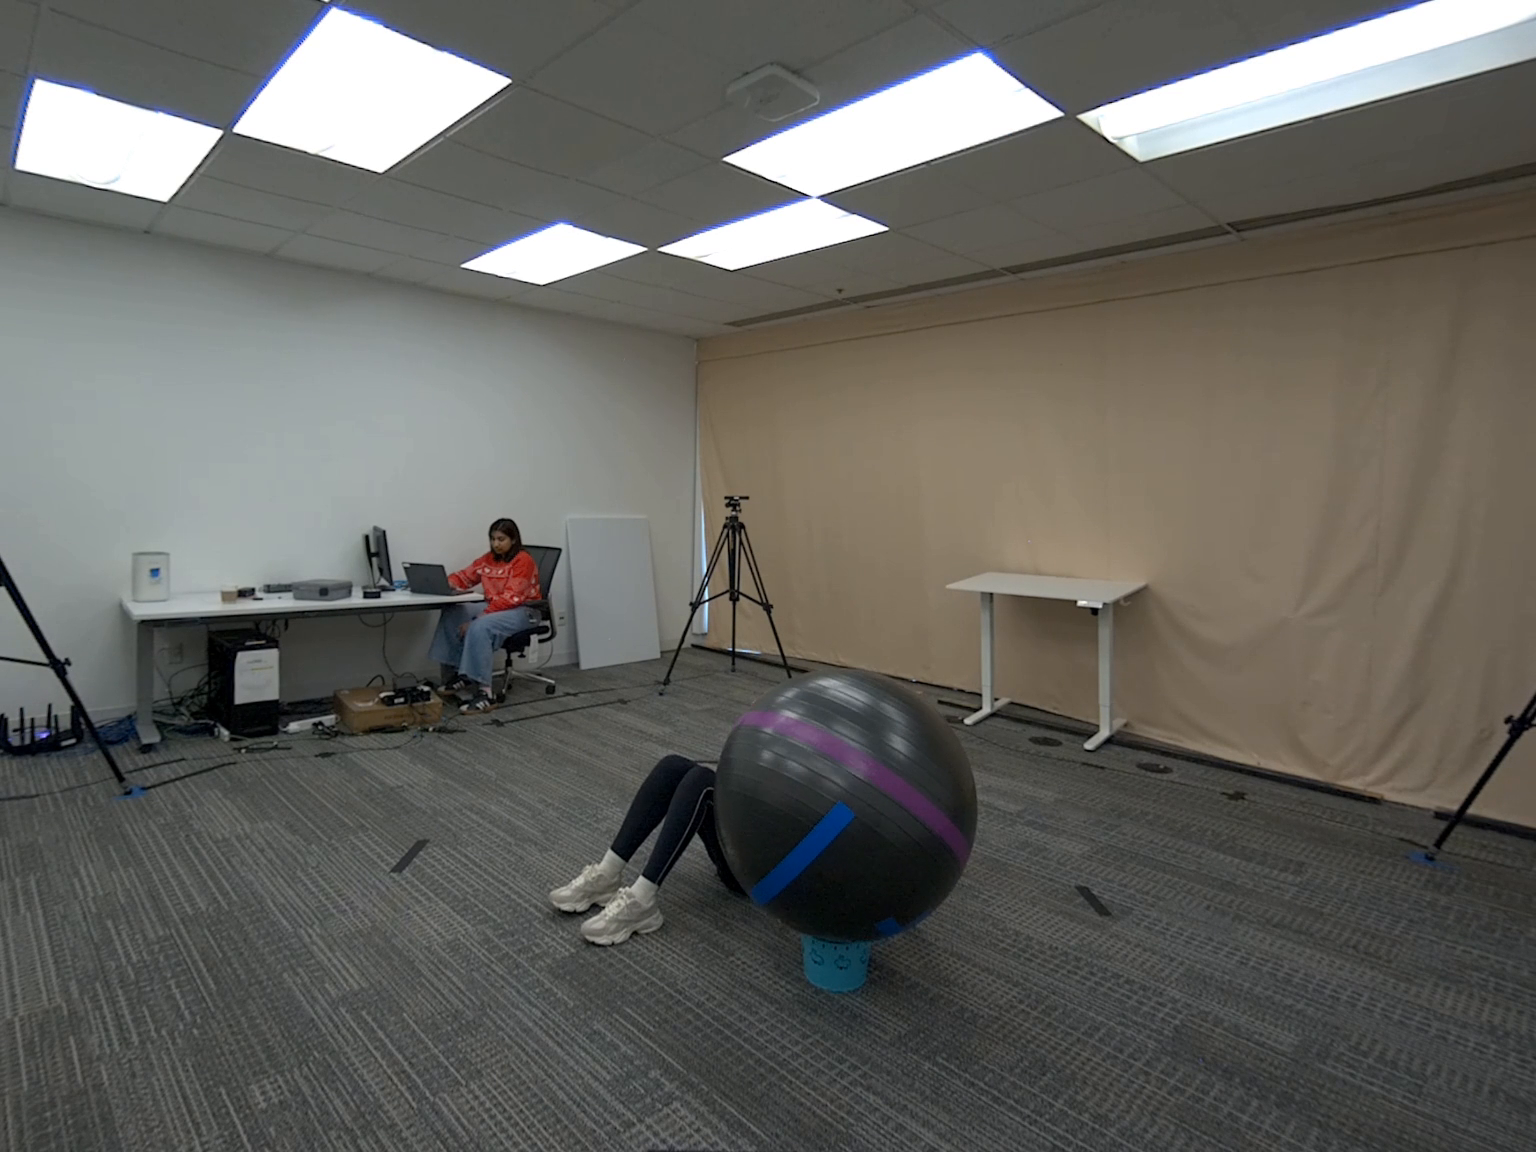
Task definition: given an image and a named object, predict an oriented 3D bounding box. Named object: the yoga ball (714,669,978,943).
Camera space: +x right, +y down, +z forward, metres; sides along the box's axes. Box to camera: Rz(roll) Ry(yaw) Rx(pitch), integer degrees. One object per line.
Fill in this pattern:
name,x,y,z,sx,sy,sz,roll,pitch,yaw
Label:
yoga ball,0.227,0.656,2.458,0.757,0.754,0.762,0,7,-1
